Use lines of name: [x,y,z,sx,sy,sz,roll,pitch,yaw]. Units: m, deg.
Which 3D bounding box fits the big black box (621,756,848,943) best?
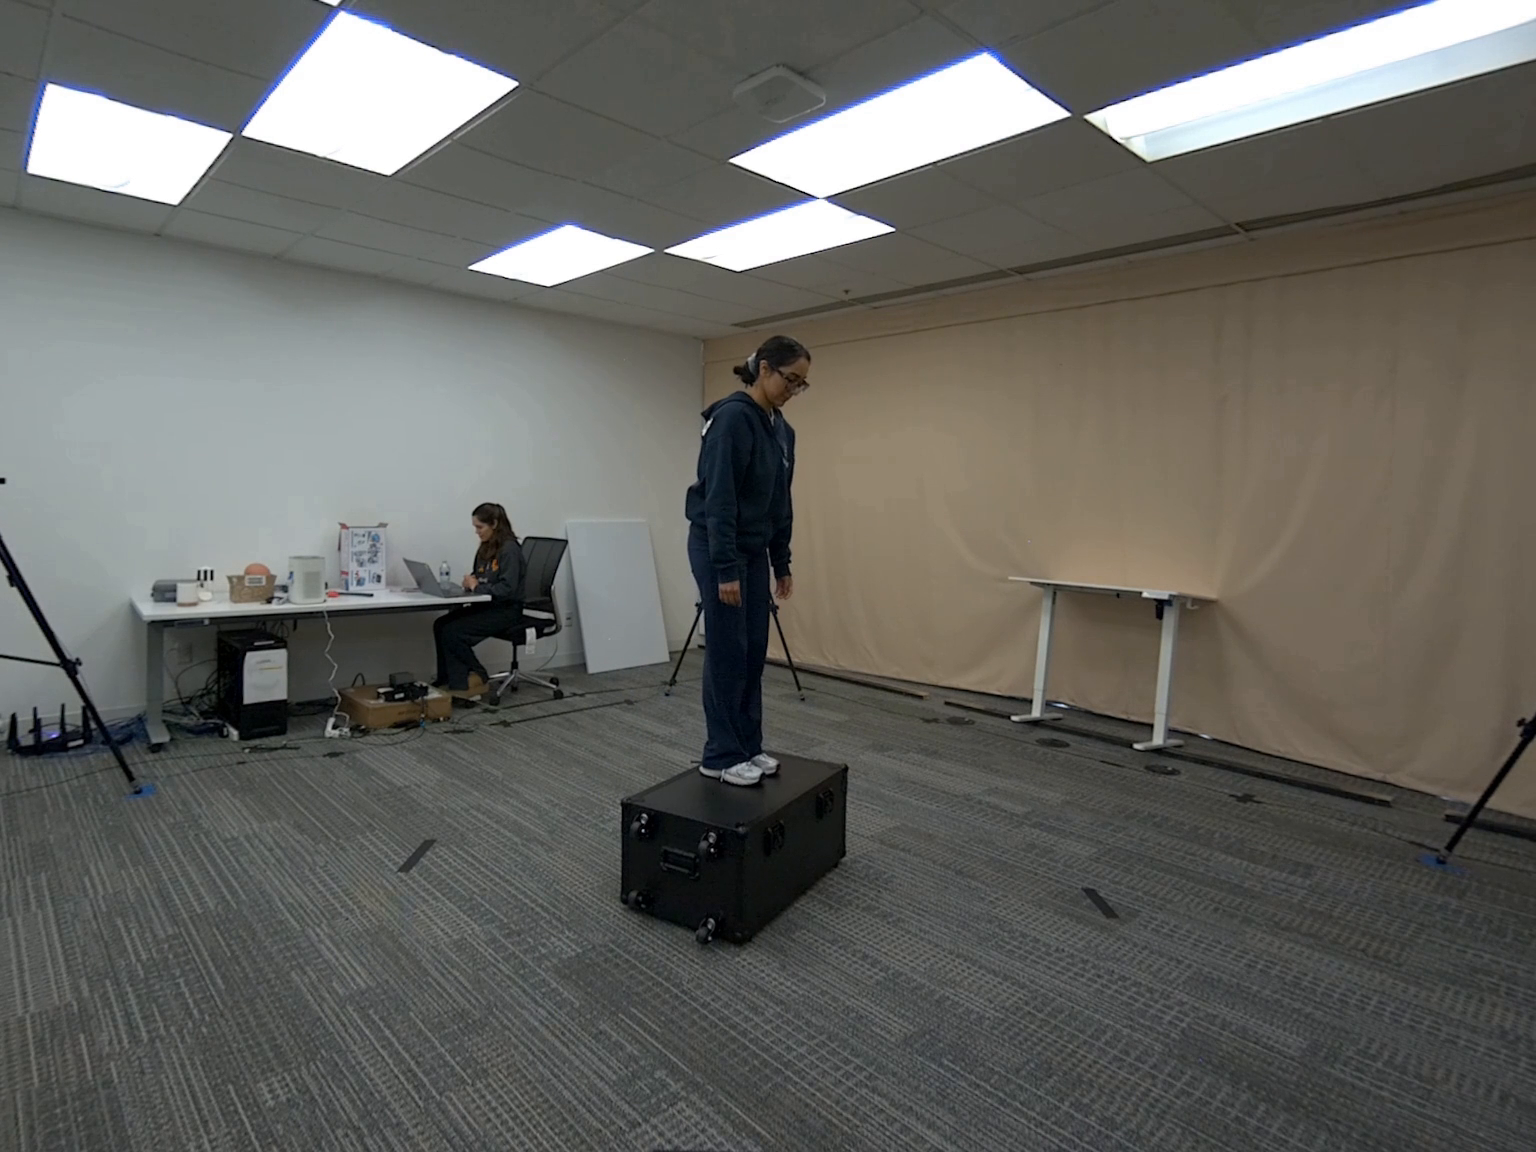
big black box: [-0.120,0.928,3.003,0.532,0.395,0.845,4,5,29]
